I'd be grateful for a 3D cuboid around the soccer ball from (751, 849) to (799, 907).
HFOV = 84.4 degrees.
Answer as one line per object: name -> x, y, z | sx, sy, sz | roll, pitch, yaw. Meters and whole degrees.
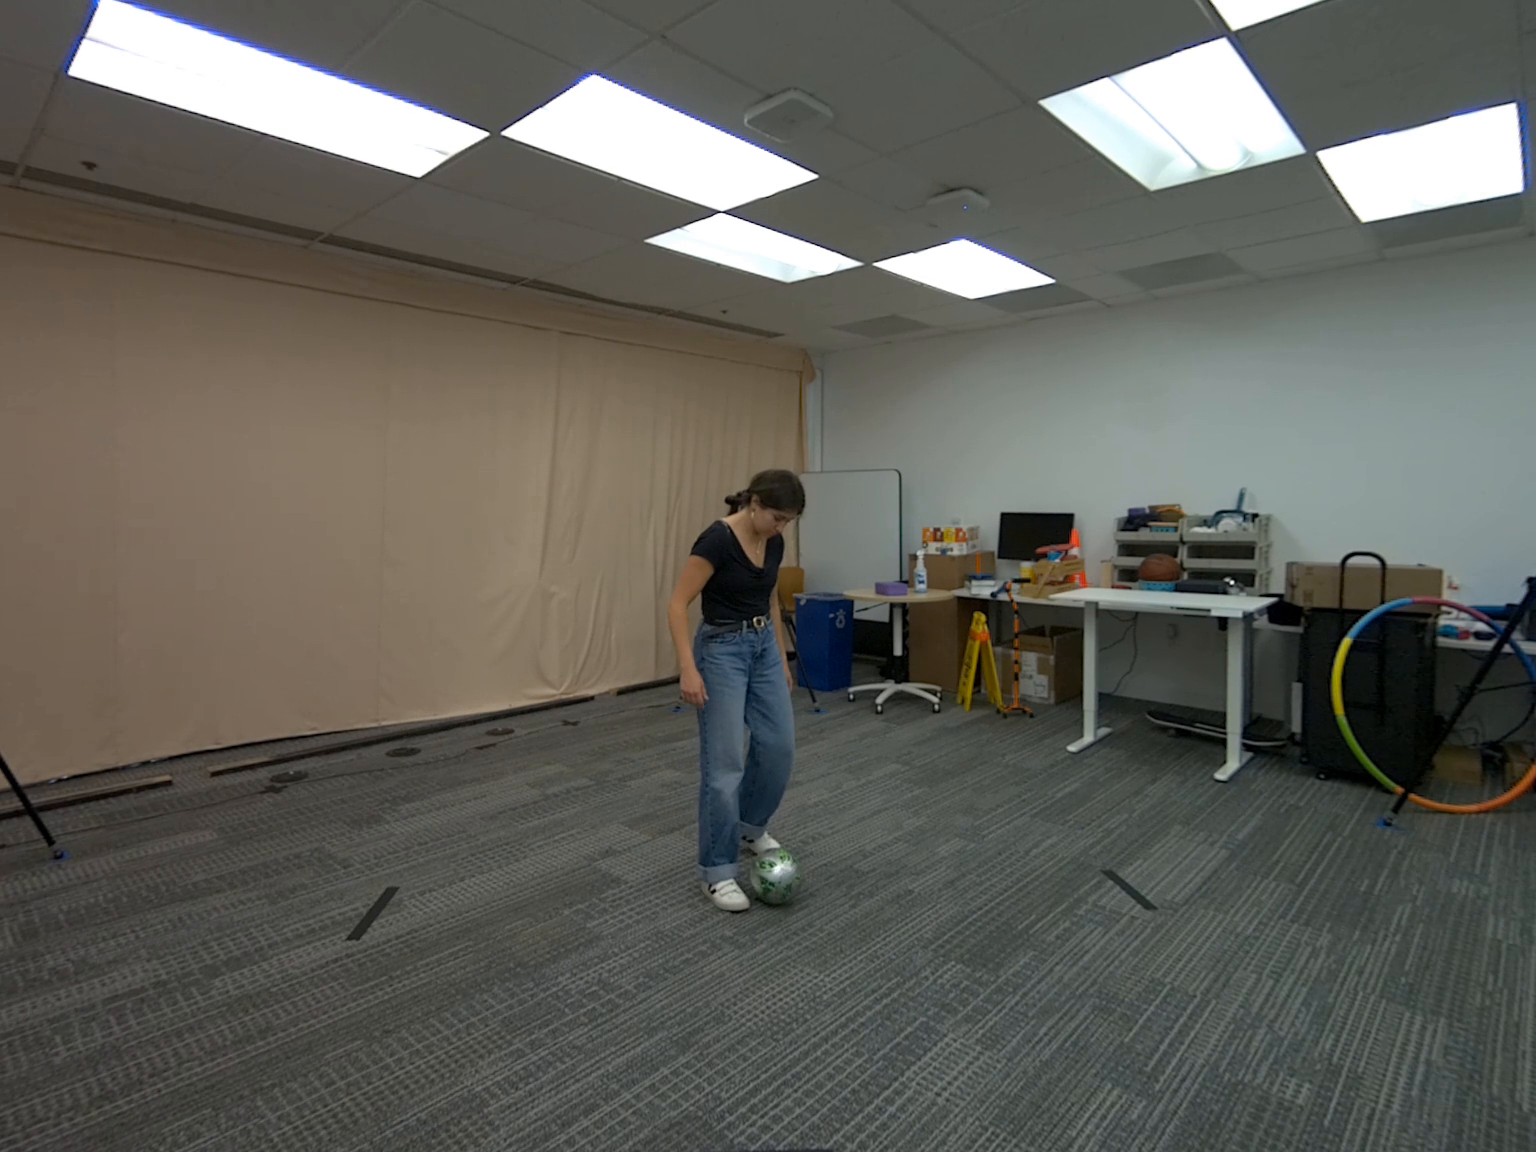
soccer ball -> 0.034, 1.051, 2.950 | 0.187, 0.187, 0.188 | 0, 4, -2
